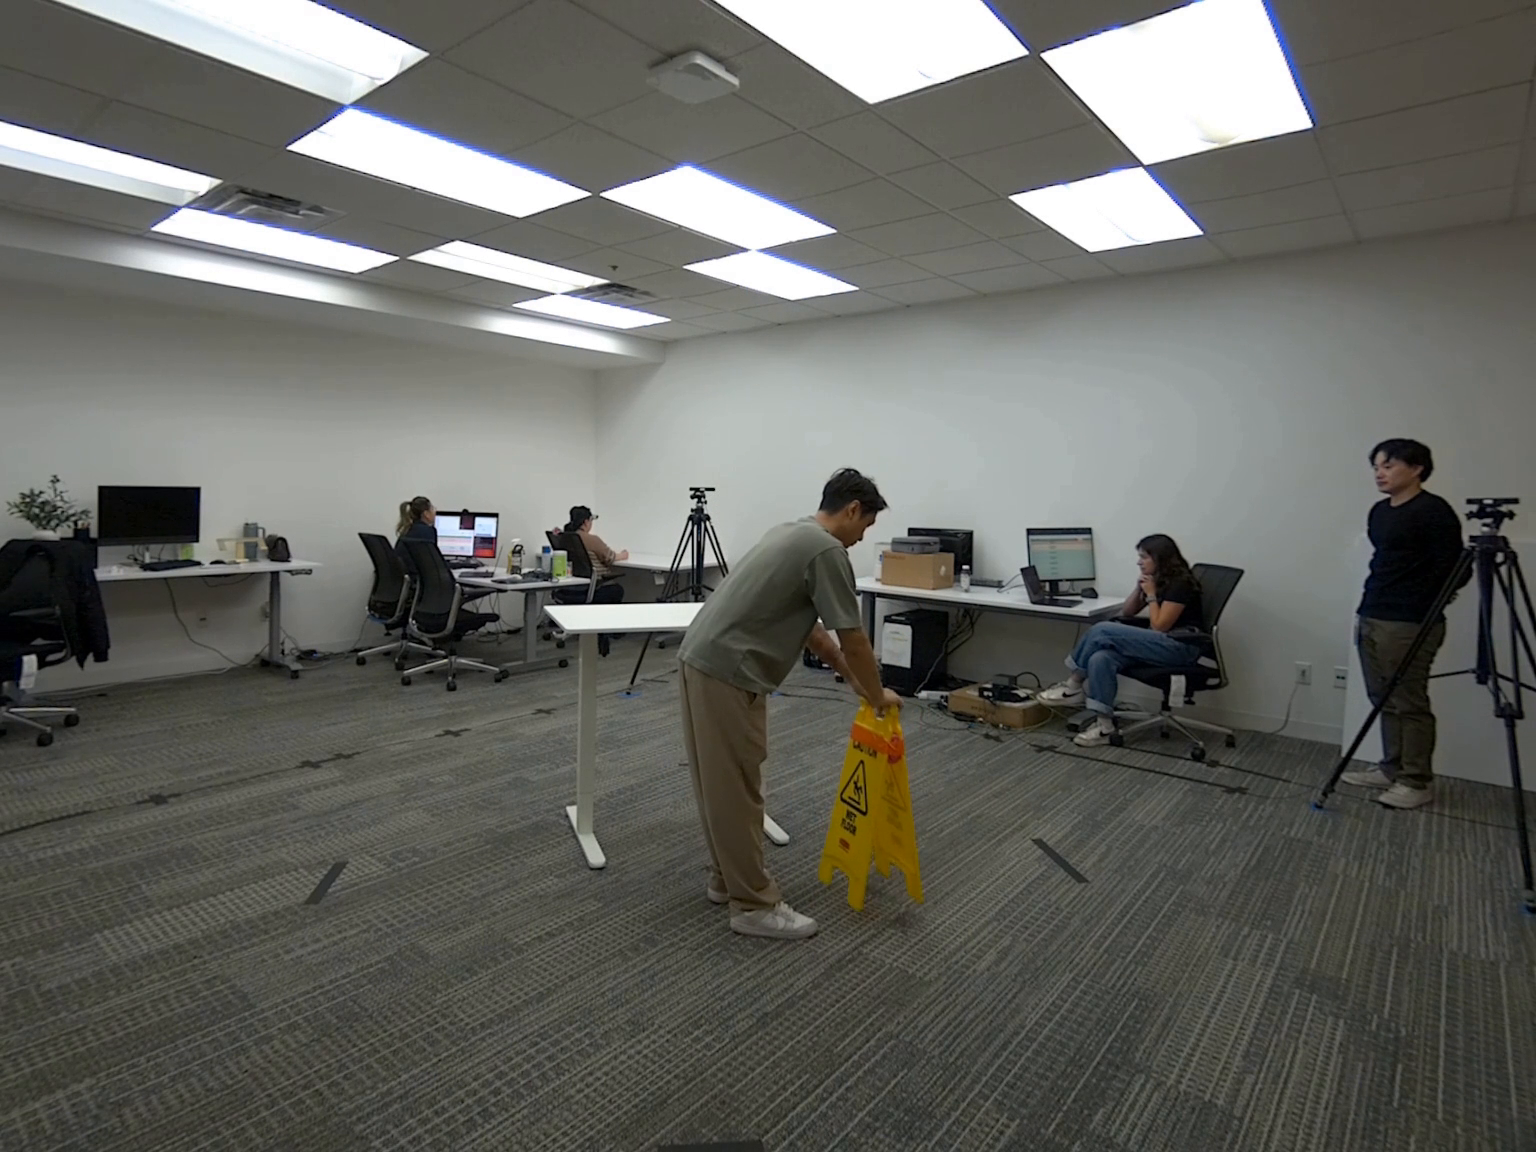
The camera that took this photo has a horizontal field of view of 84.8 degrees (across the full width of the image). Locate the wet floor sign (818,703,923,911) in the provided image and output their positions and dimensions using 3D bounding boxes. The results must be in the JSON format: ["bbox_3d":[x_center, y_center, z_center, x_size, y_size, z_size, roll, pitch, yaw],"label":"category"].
[{"bbox_3d":[0.350,0.718,2.838,0.283,0.645,0.289,3,1,-22],"label":"wet floor sign"}]
